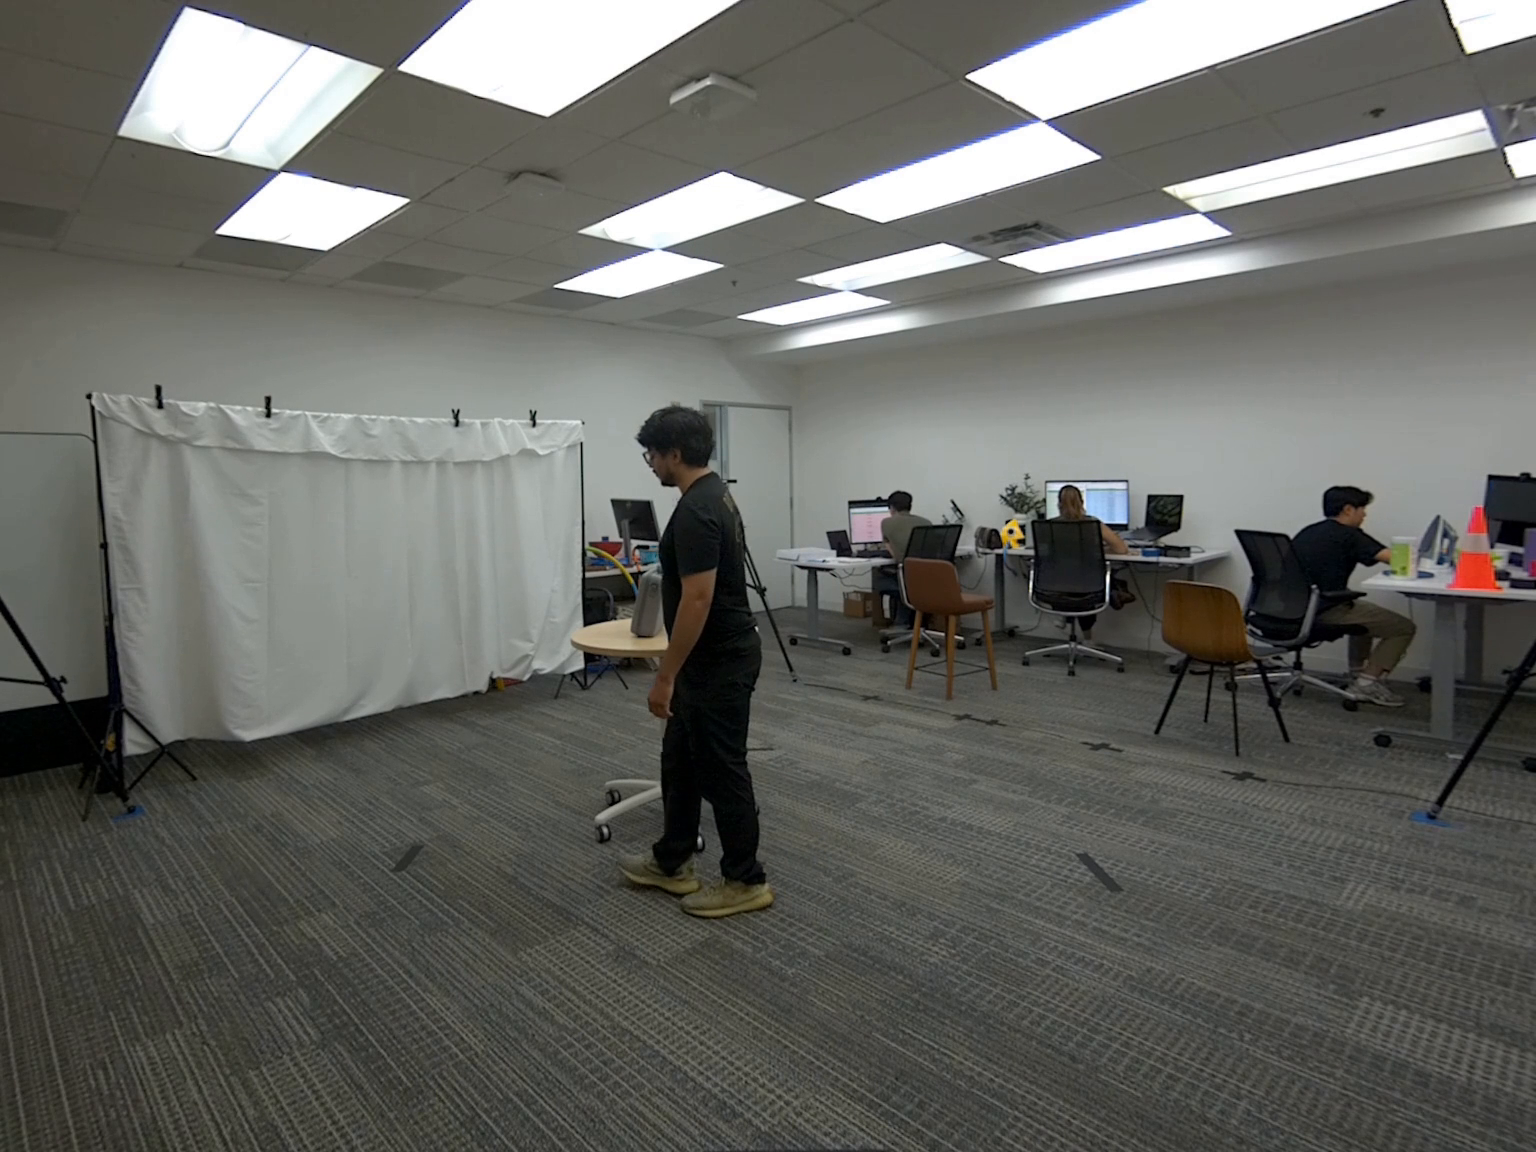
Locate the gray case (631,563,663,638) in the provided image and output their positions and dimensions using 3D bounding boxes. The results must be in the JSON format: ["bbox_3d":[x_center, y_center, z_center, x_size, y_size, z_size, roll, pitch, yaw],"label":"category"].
[{"bbox_3d":[-0.467,0.103,3.474,0.105,0.259,0.257,9,8,4],"label":"gray case"}]
